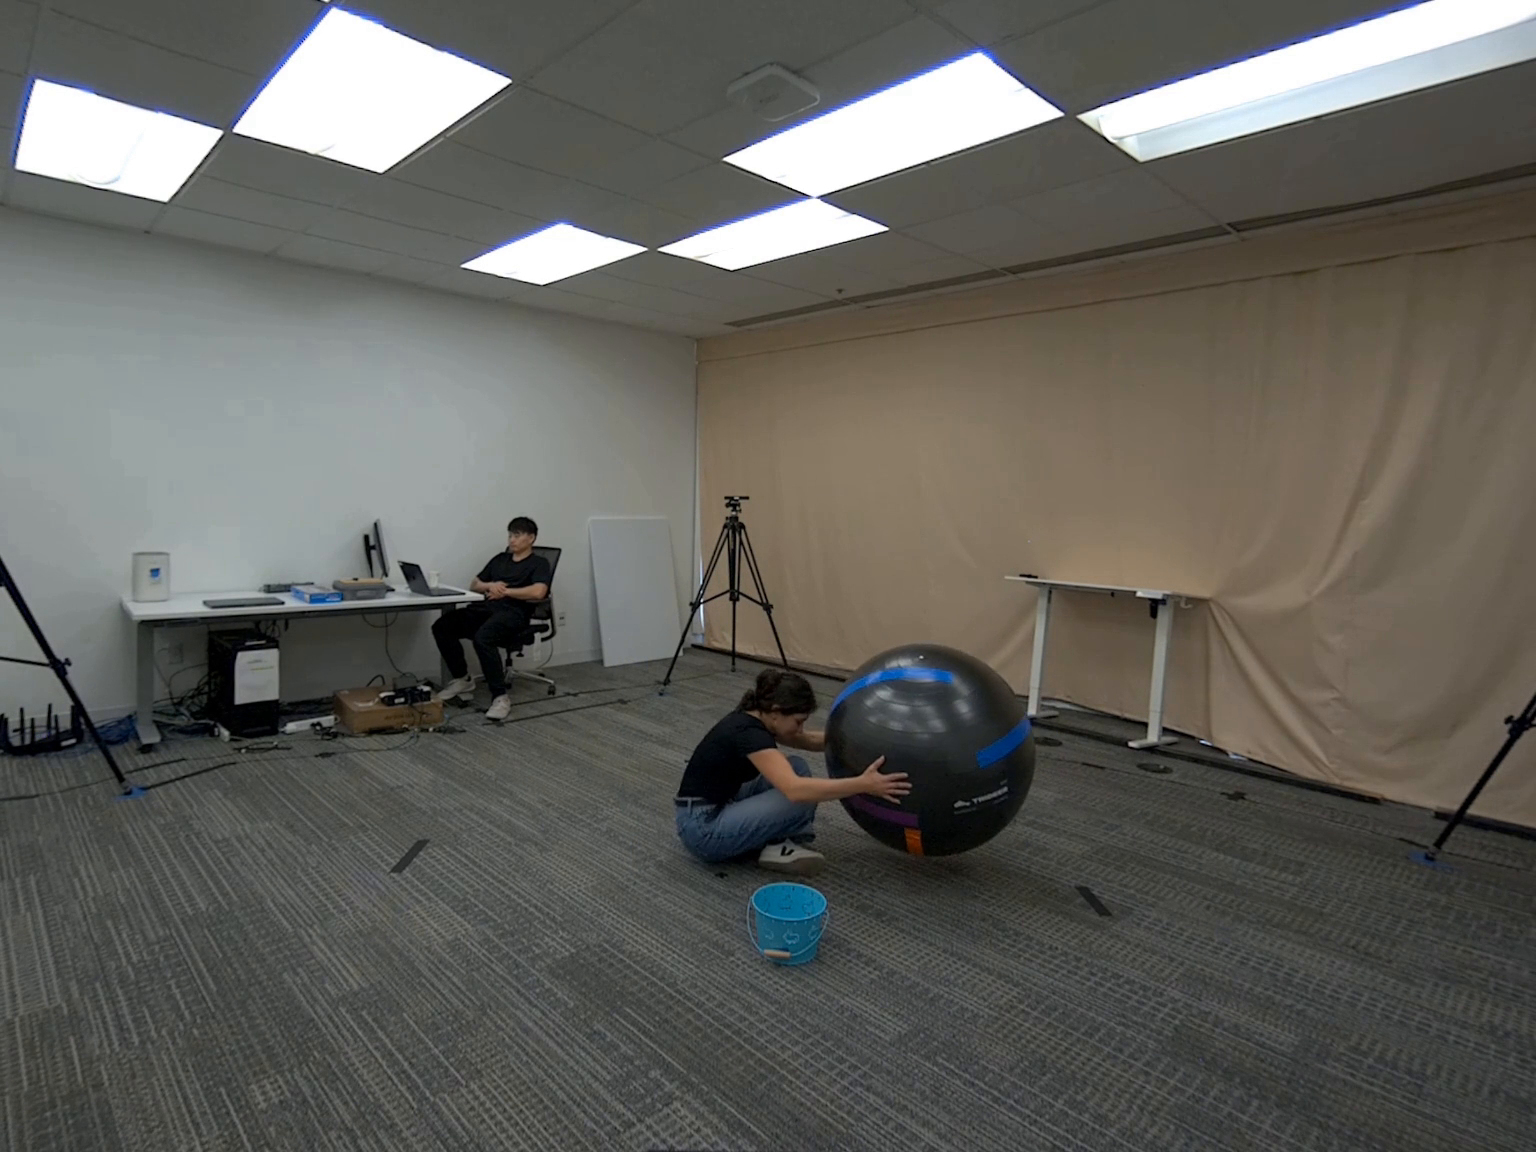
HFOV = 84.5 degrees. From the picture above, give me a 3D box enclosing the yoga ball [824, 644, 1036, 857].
[{"bbox_3d":[0.585,0.633,3.107,0.757,0.756,0.761,1,4,-1],"label":"yoga ball"}]
